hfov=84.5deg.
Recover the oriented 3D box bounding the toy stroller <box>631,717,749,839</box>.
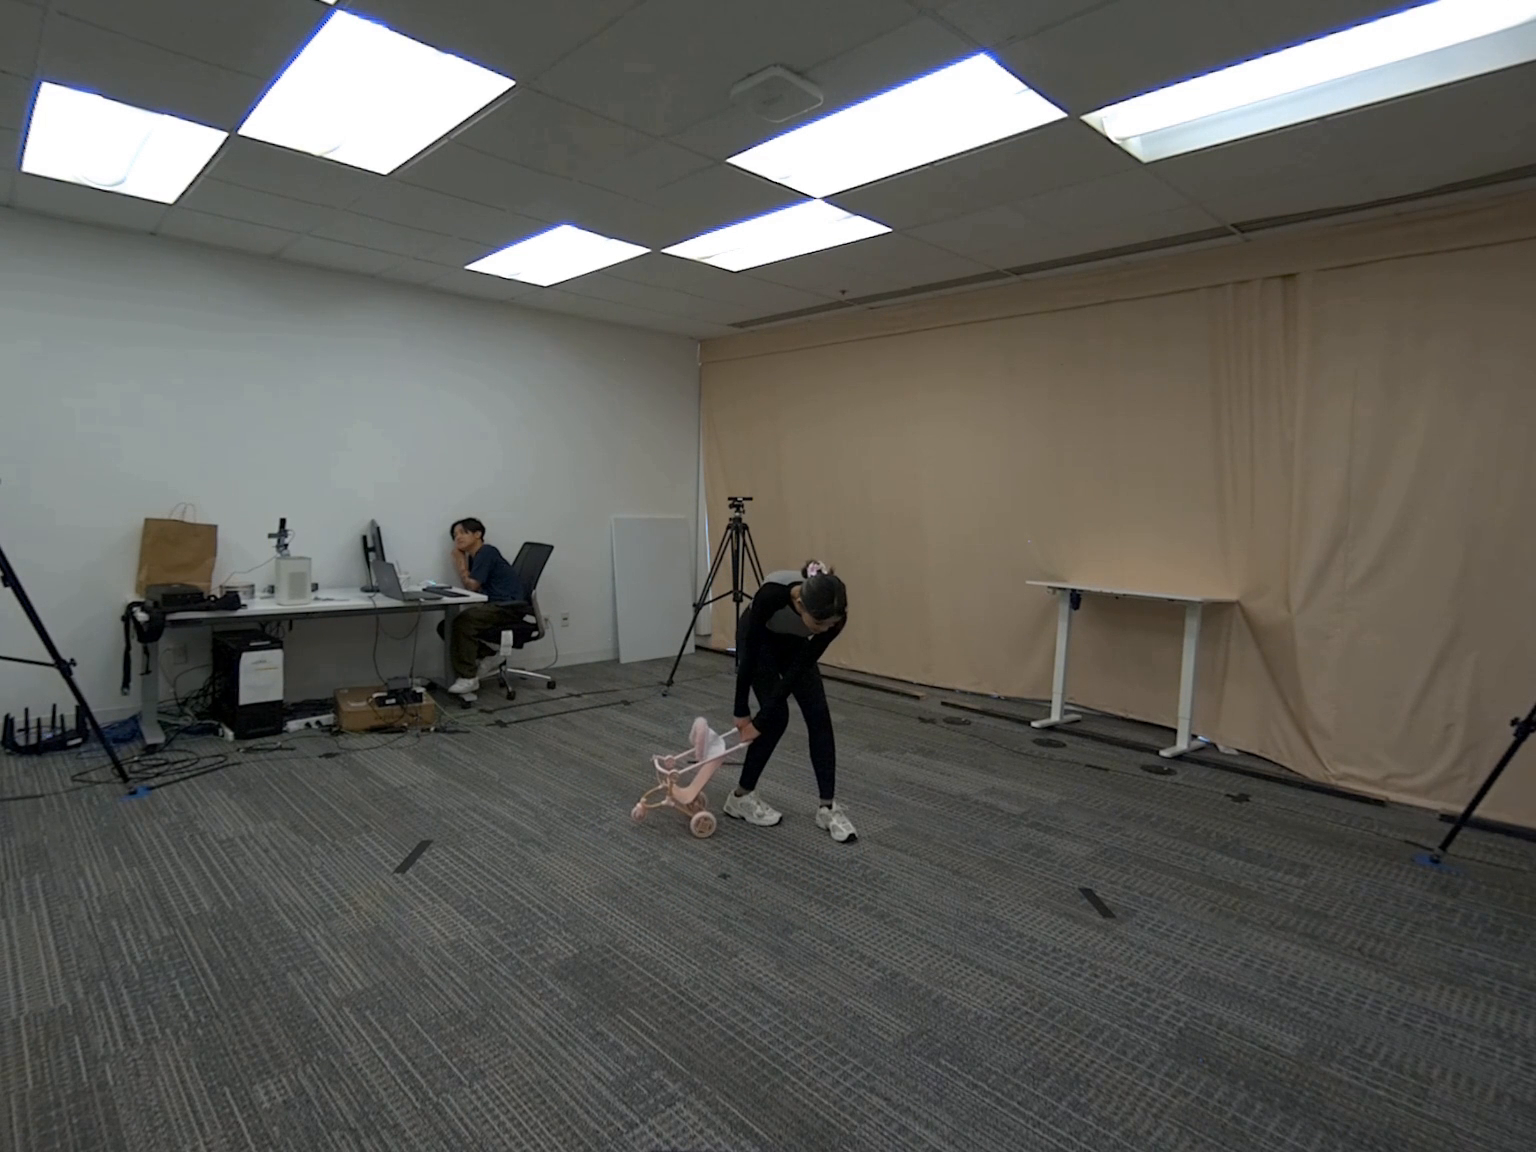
[{"bbox_3d":[-0.335,0.835,3.555,0.339,0.535,0.283,23,1,-6],"label":"toy stroller"}]
